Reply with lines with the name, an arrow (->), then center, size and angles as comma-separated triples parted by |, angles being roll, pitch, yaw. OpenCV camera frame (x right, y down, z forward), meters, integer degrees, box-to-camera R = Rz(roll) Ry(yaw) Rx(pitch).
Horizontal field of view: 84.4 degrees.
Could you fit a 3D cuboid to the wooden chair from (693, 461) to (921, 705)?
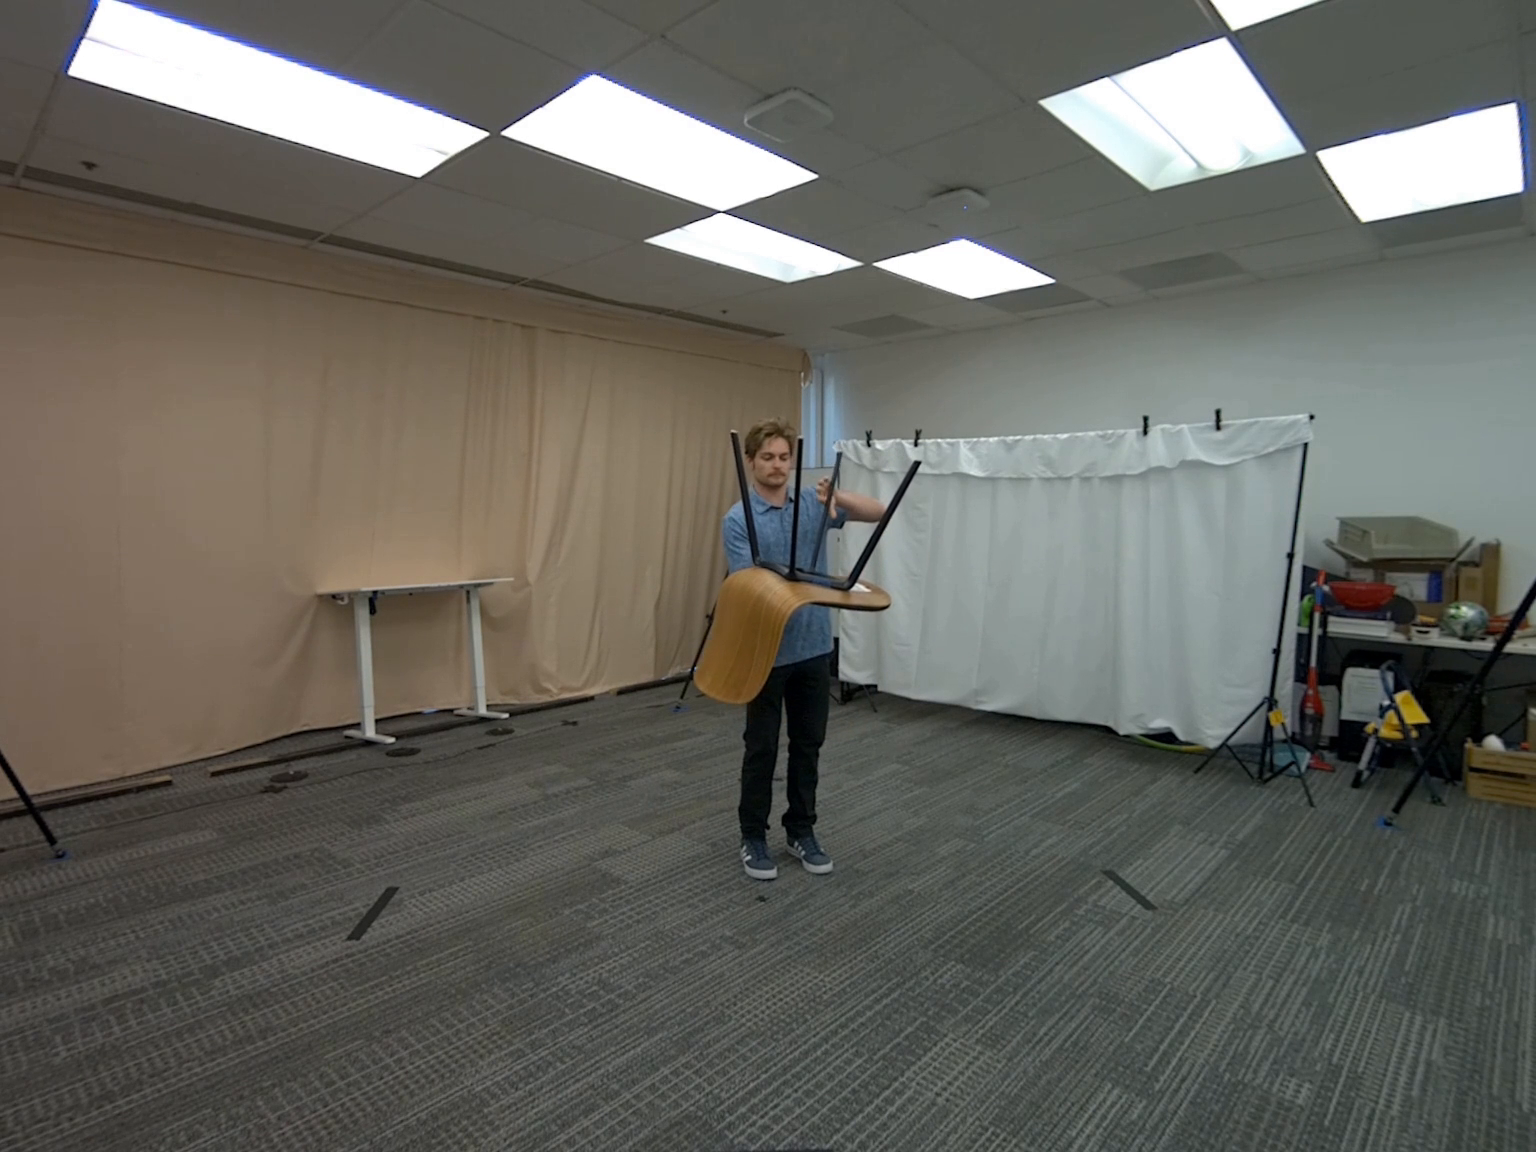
wooden chair -> 0.122, -0.003, 2.783 | 0.508, 0.876, 0.493 | 10, 4, -29
